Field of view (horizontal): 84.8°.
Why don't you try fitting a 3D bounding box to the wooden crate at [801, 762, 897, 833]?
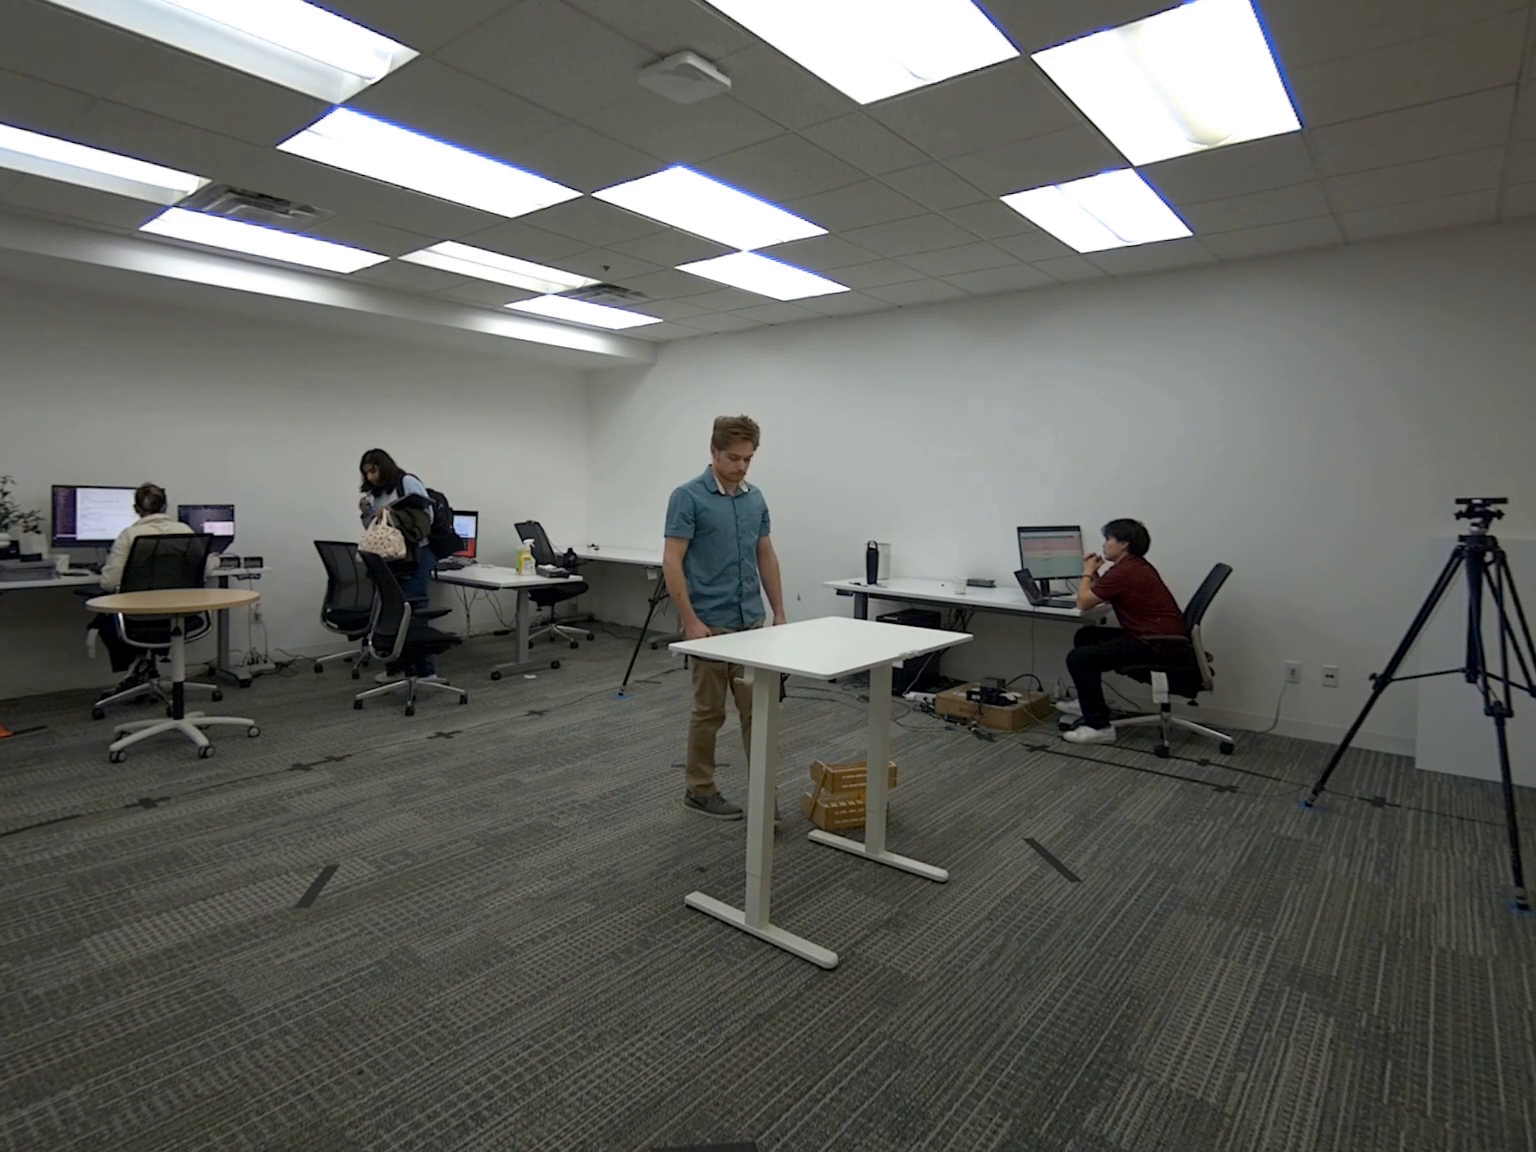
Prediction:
[{"bbox_3d":[0.326,0.893,3.633,0.317,0.272,0.310,-1,5,-23],"label":"wooden crate"}]
